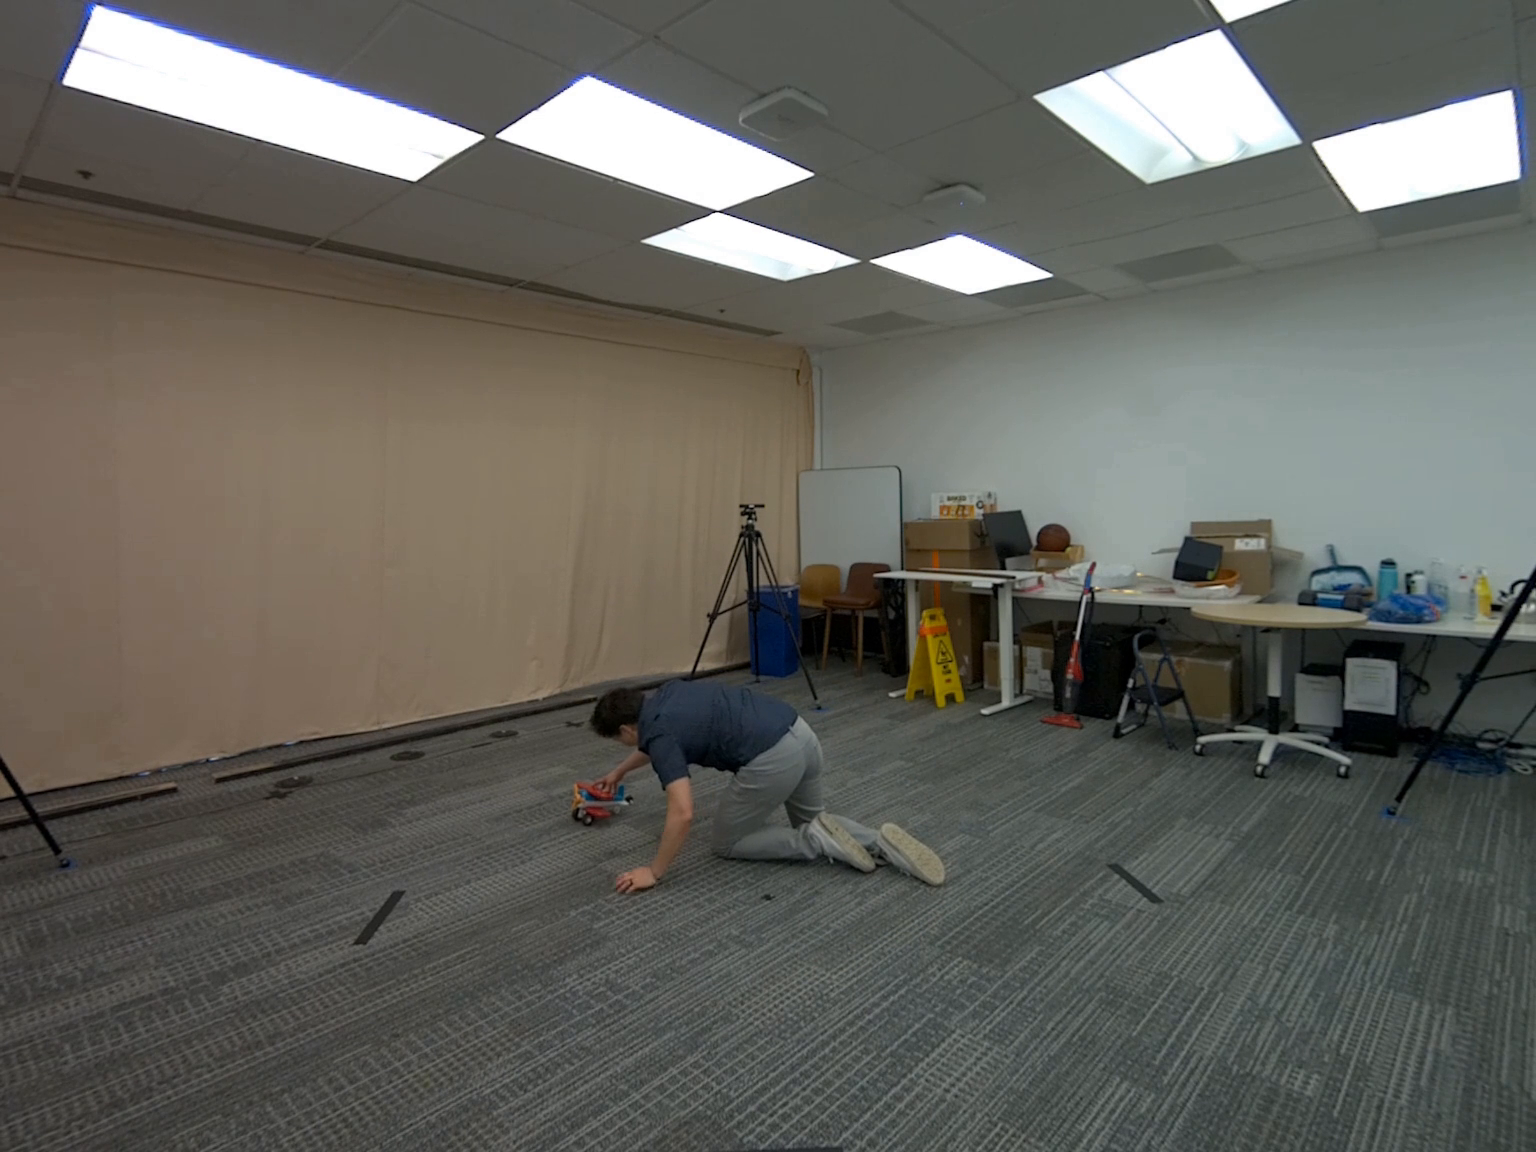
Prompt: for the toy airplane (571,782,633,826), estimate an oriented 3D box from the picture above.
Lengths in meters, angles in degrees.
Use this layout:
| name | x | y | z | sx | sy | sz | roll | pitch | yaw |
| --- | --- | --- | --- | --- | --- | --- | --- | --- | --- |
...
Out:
| name | x | y | z | sx | sy | sz | roll | pitch | yaw |
| --- | --- | --- | --- | --- | --- | --- | --- | --- | --- |
| toy airplane | -0.780 | 1.019 | 3.797 | 0.257 | 0.156 | 0.254 | 2 | 6 | 21 |
